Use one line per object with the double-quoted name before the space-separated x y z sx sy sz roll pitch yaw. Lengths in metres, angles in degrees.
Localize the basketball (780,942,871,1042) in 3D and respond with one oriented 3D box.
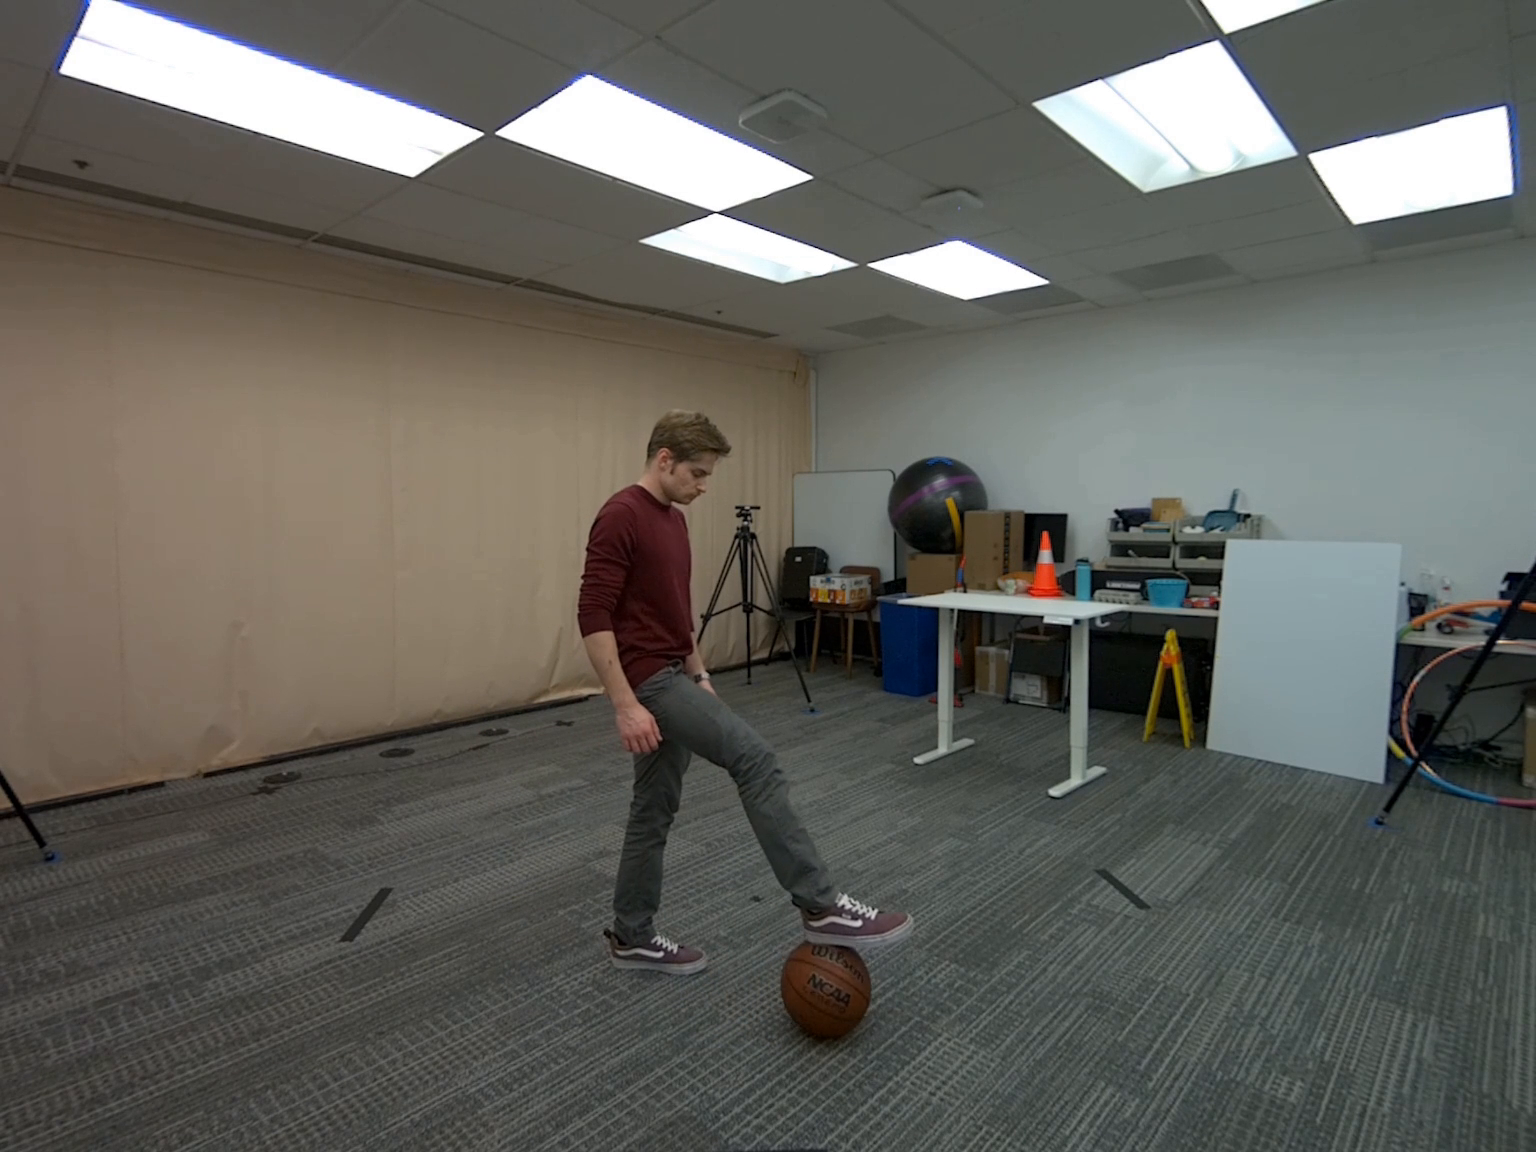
"basketball" 0.160 1.089 2.235 0.236 0.235 0.237 0 4 -2
